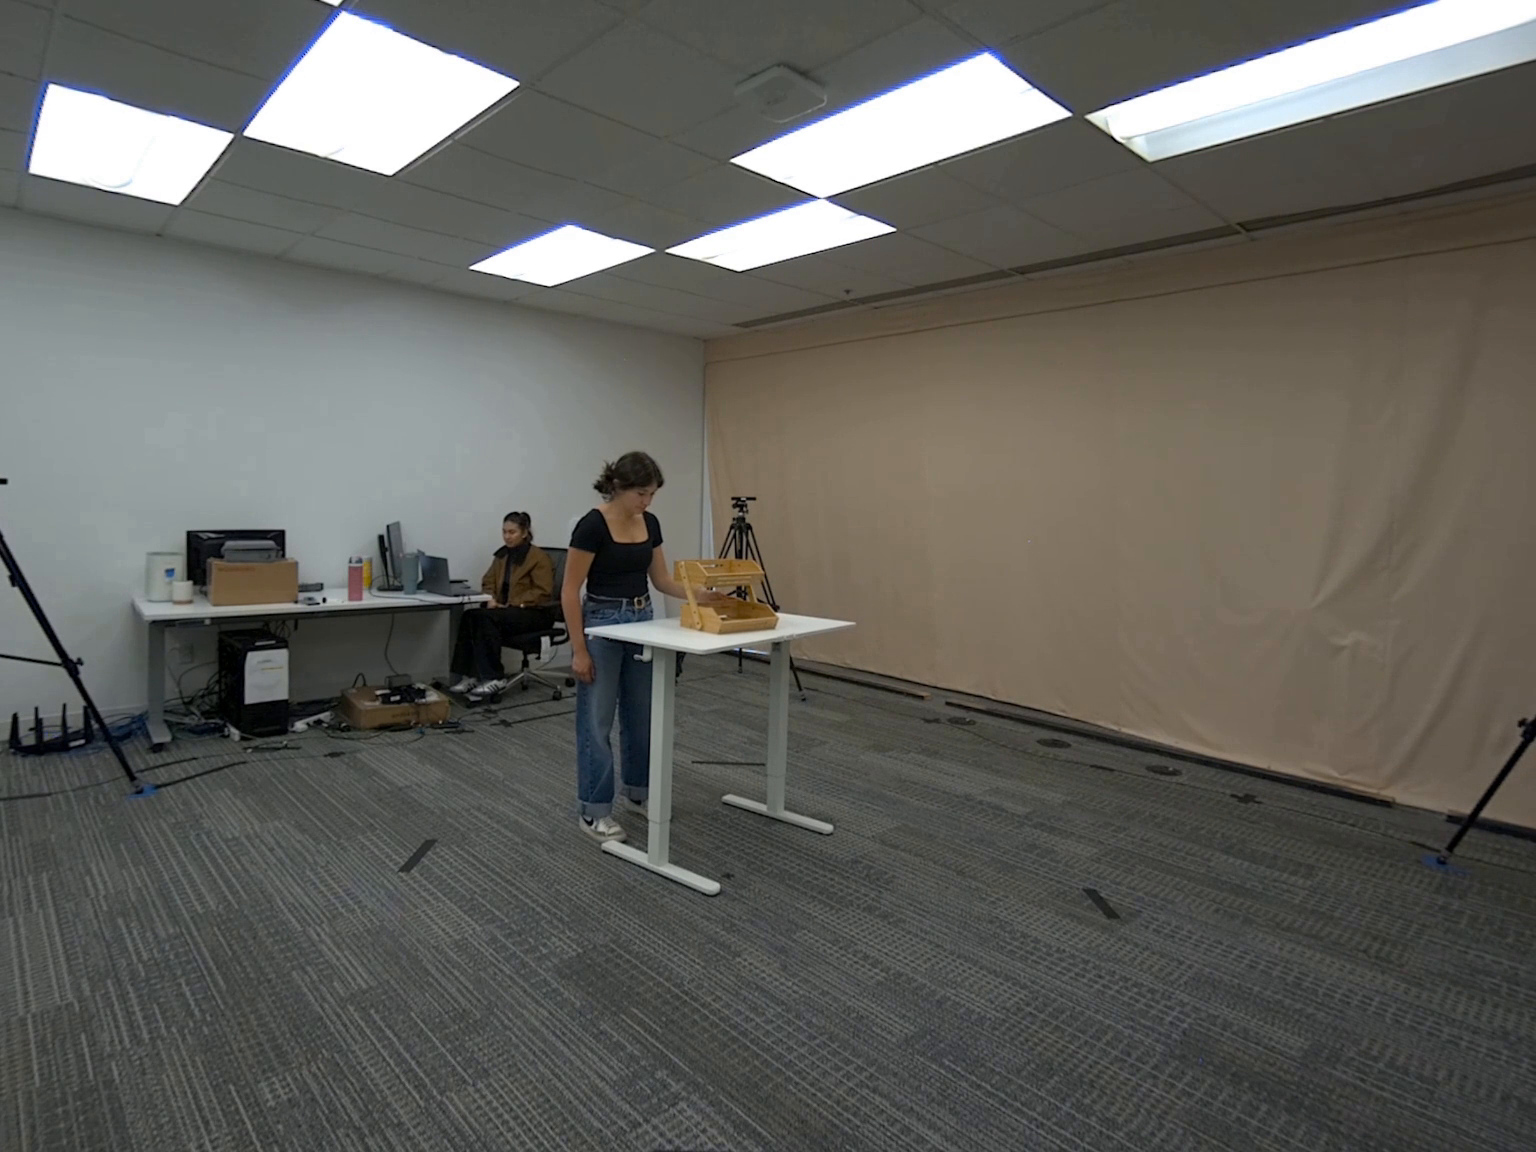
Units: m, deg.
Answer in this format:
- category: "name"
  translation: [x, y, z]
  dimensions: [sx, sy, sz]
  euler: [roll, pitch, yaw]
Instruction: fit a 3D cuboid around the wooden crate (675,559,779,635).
- category: "wooden crate"
  translation: [-0.175, 0.071, 3.335]
  dimensions: [0.317, 0.273, 0.309]
  euler: [-1, 4, -42]
